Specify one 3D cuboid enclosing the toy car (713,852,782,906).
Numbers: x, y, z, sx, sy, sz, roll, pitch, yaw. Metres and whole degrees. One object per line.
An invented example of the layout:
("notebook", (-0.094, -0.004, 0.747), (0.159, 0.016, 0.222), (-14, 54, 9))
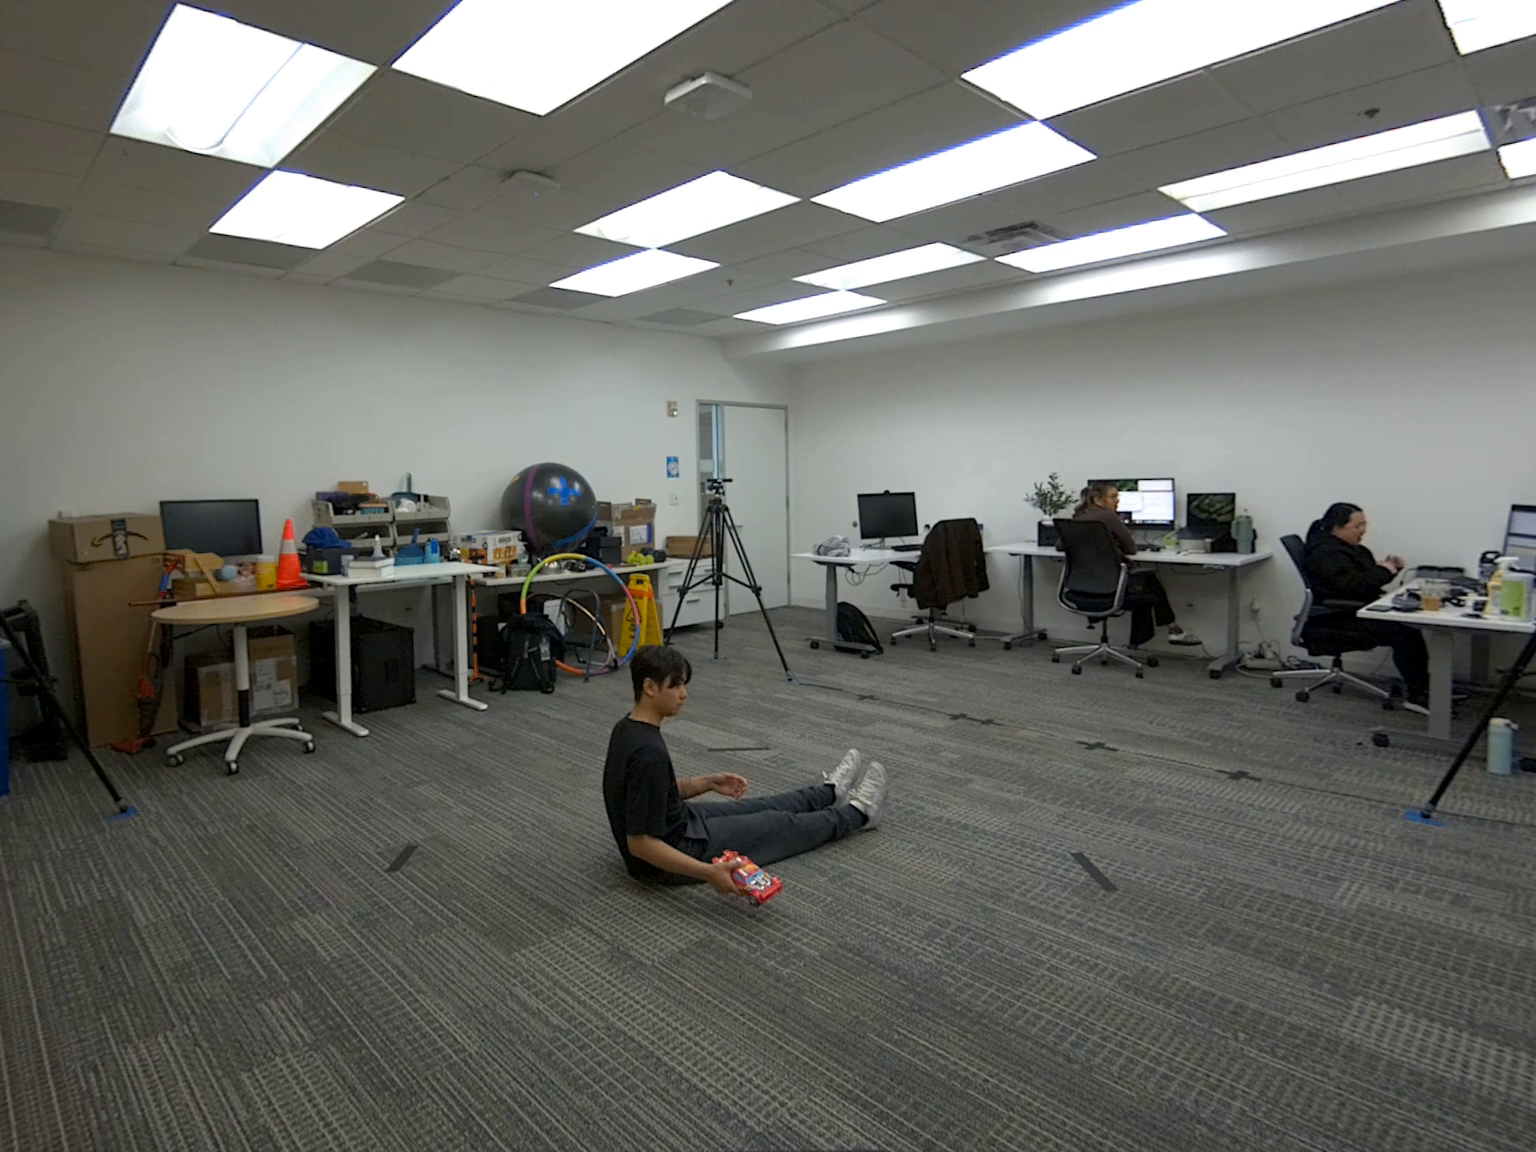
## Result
("toy car", (-0.069, 0.969, 2.779), (0.128, 0.081, 0.264), (-18, 32, -37))
